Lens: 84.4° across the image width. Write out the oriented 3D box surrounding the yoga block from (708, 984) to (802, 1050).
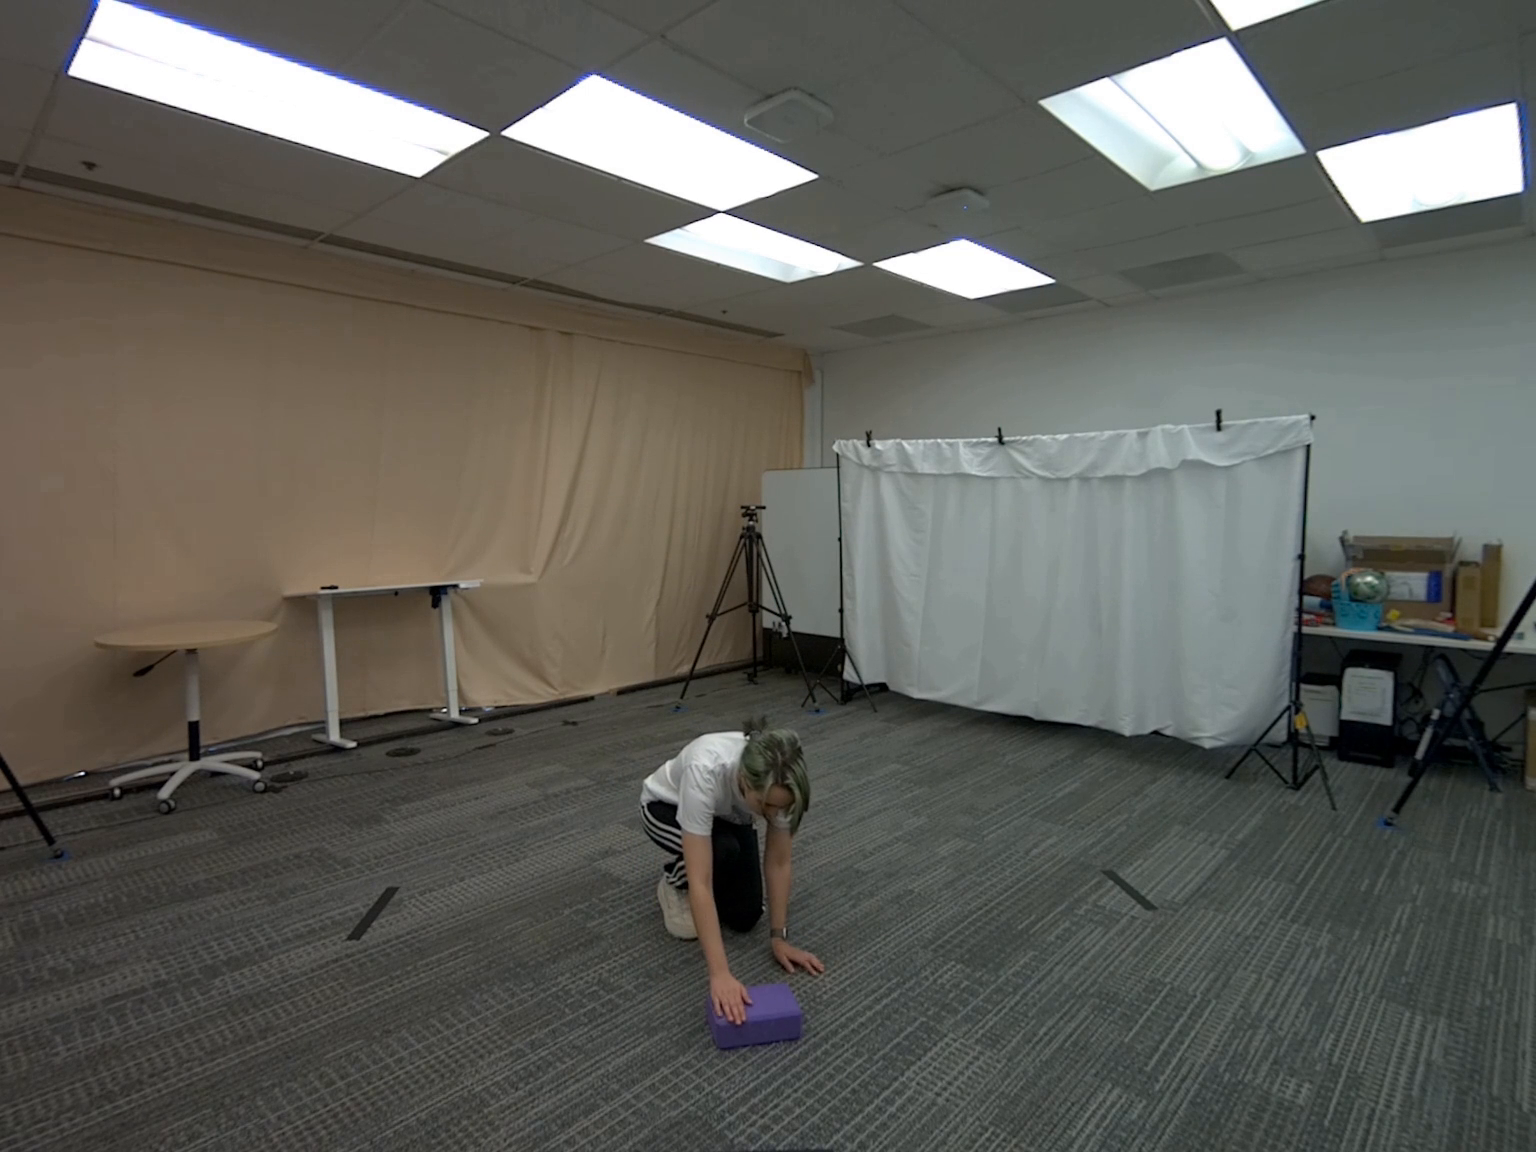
[{"bbox_3d":[-0.044,1.161,2.242,0.226,0.076,0.151,-1,5,-13],"label":"yoga block"}]
